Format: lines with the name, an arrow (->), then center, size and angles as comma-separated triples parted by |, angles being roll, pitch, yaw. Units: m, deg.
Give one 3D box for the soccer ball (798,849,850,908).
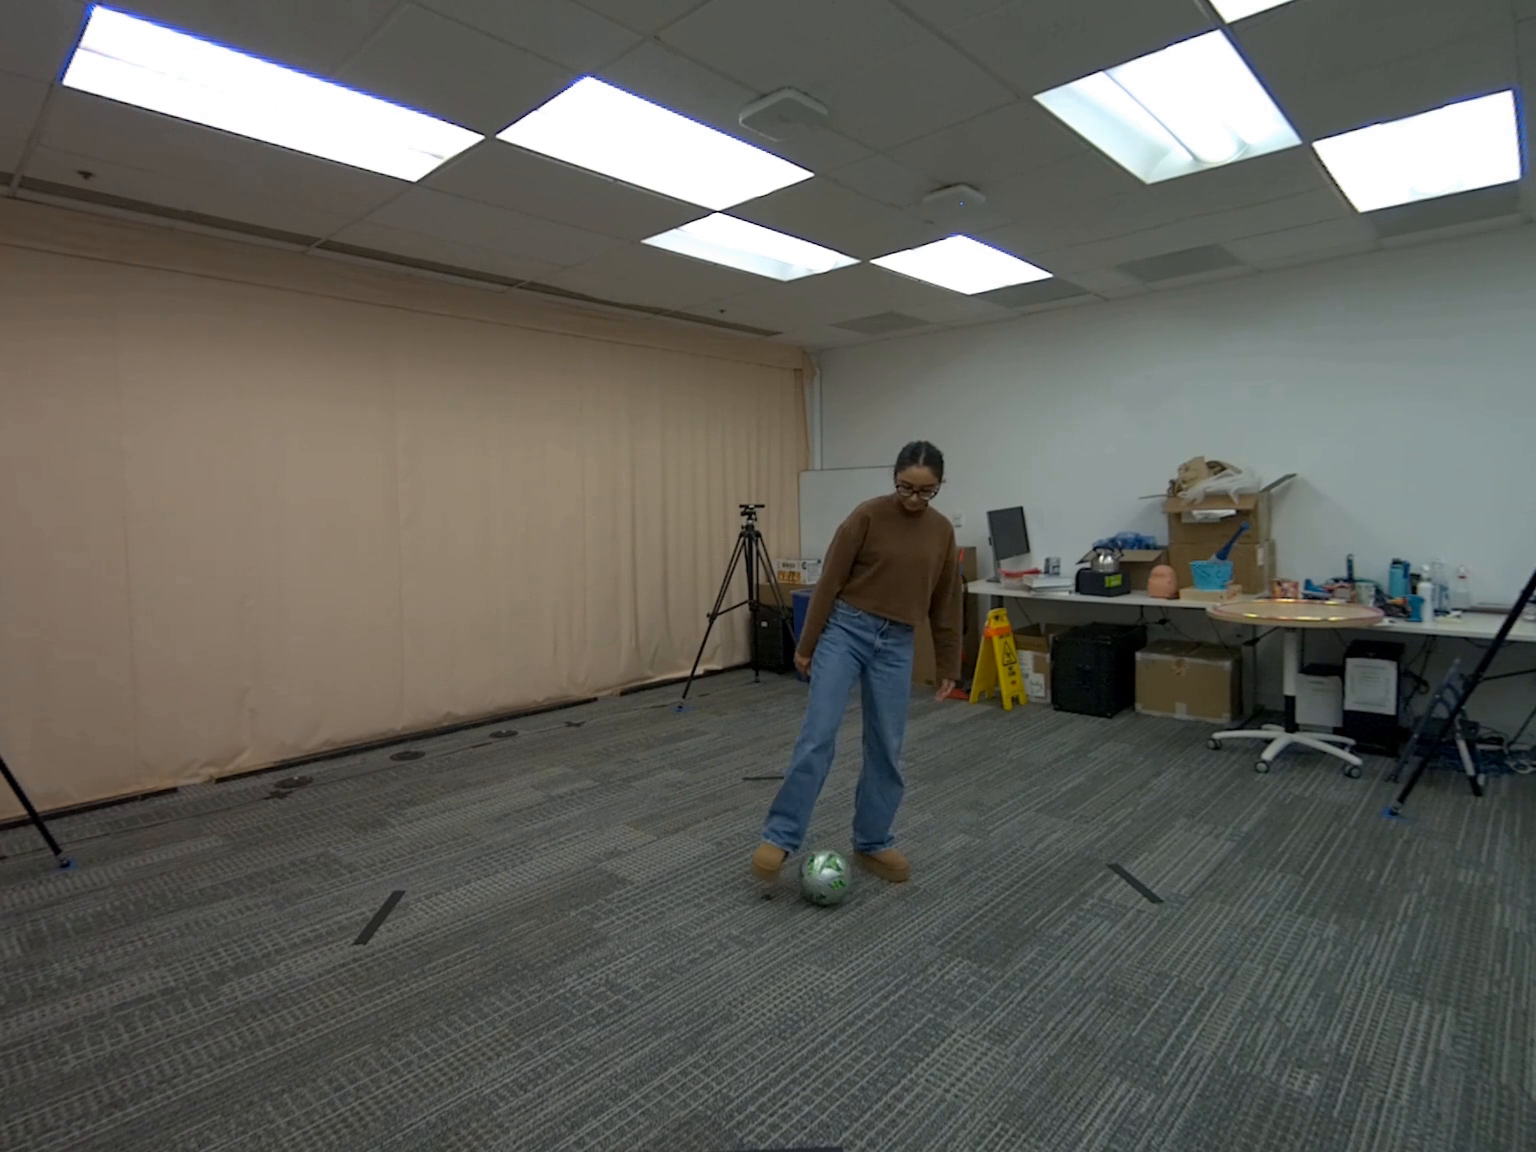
soccer ball -> 0.207, 1.049, 2.926 | 0.187, 0.187, 0.188 | -1, 4, -2
